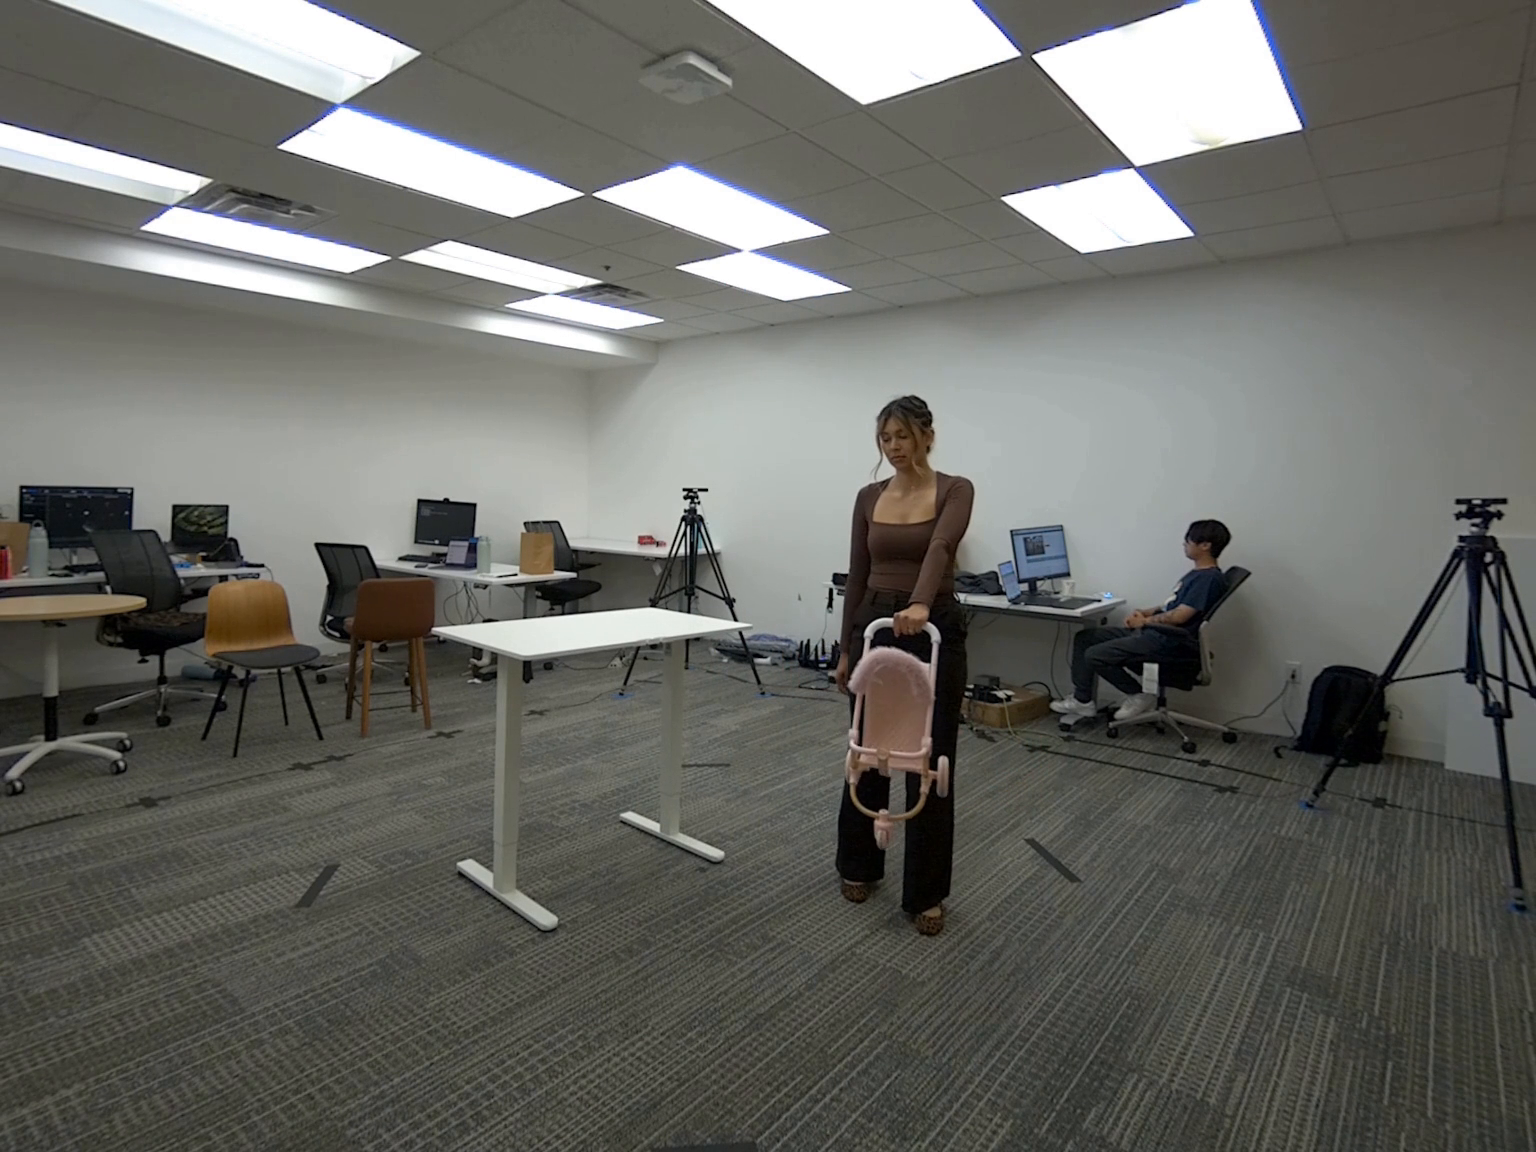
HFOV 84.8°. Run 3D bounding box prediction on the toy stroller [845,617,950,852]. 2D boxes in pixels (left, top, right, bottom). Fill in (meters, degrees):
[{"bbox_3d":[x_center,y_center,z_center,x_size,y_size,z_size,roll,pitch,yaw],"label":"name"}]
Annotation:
[{"bbox_3d":[0.330,0.412,2.288,0.288,0.531,0.336,3,9,21],"label":"toy stroller"}]
